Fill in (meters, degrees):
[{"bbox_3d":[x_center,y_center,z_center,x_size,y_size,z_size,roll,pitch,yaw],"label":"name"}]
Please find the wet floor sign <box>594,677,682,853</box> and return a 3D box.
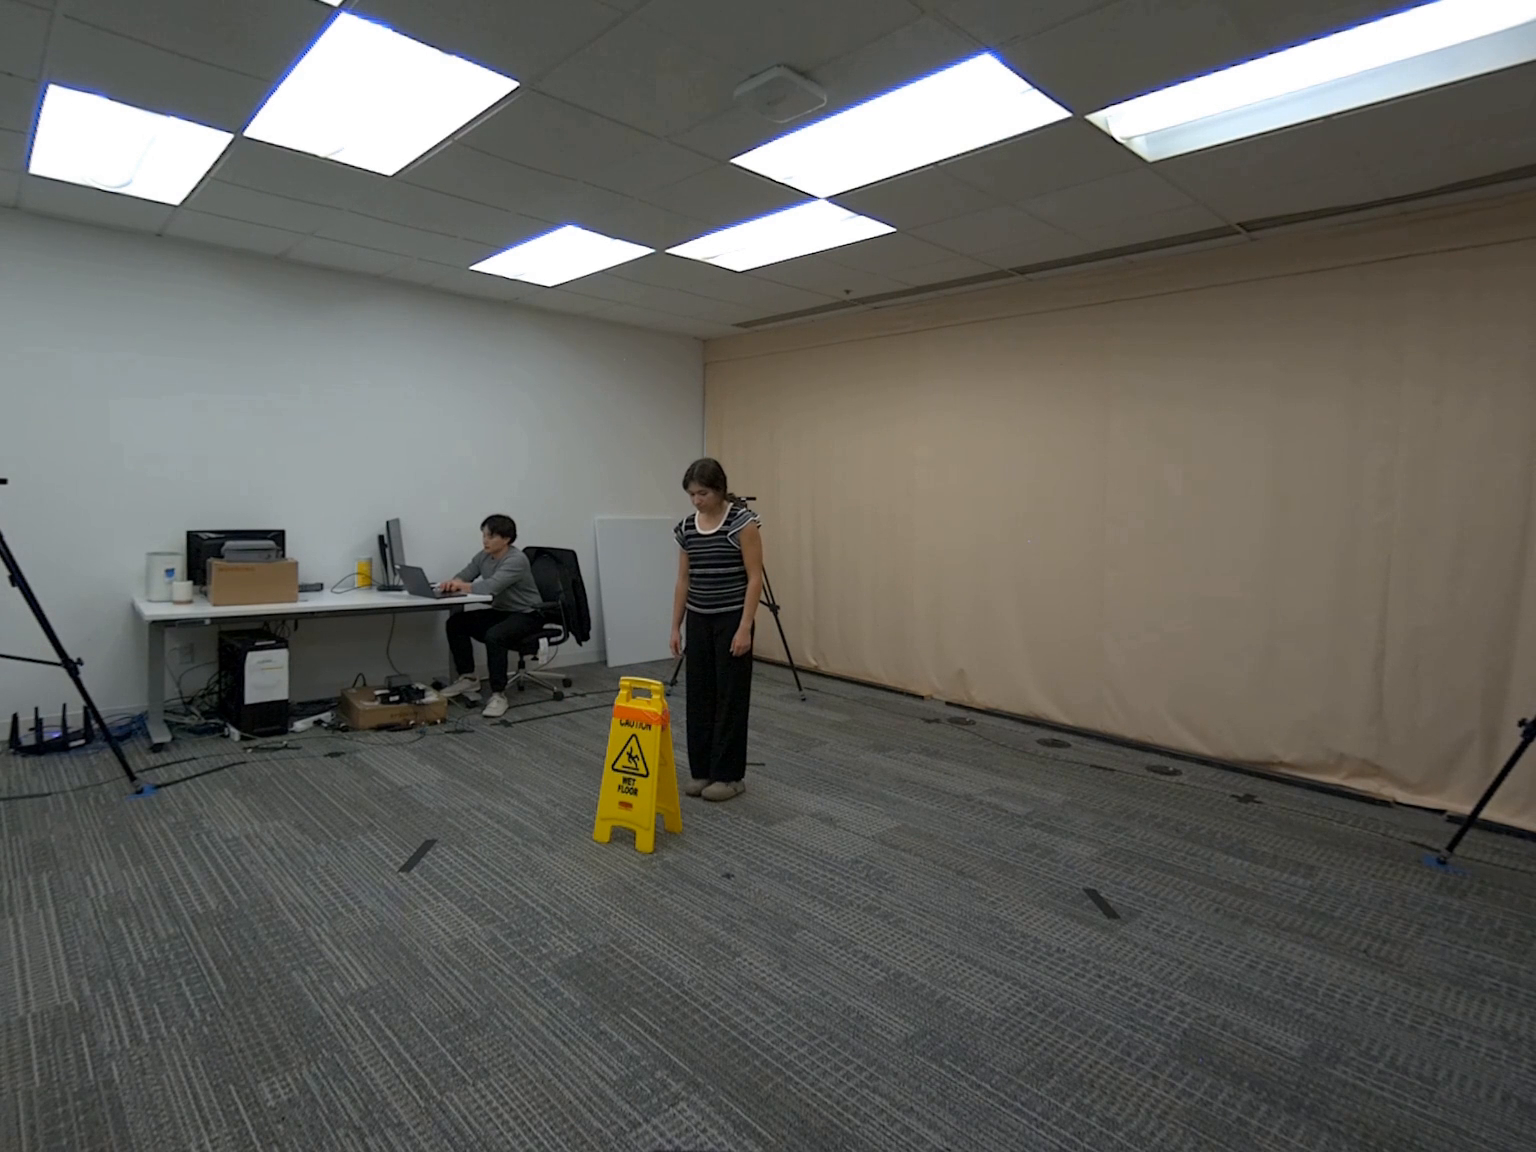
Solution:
[{"bbox_3d":[-0.531,0.745,3.441,0.287,0.645,0.285,4,3,24],"label":"wet floor sign"}]
